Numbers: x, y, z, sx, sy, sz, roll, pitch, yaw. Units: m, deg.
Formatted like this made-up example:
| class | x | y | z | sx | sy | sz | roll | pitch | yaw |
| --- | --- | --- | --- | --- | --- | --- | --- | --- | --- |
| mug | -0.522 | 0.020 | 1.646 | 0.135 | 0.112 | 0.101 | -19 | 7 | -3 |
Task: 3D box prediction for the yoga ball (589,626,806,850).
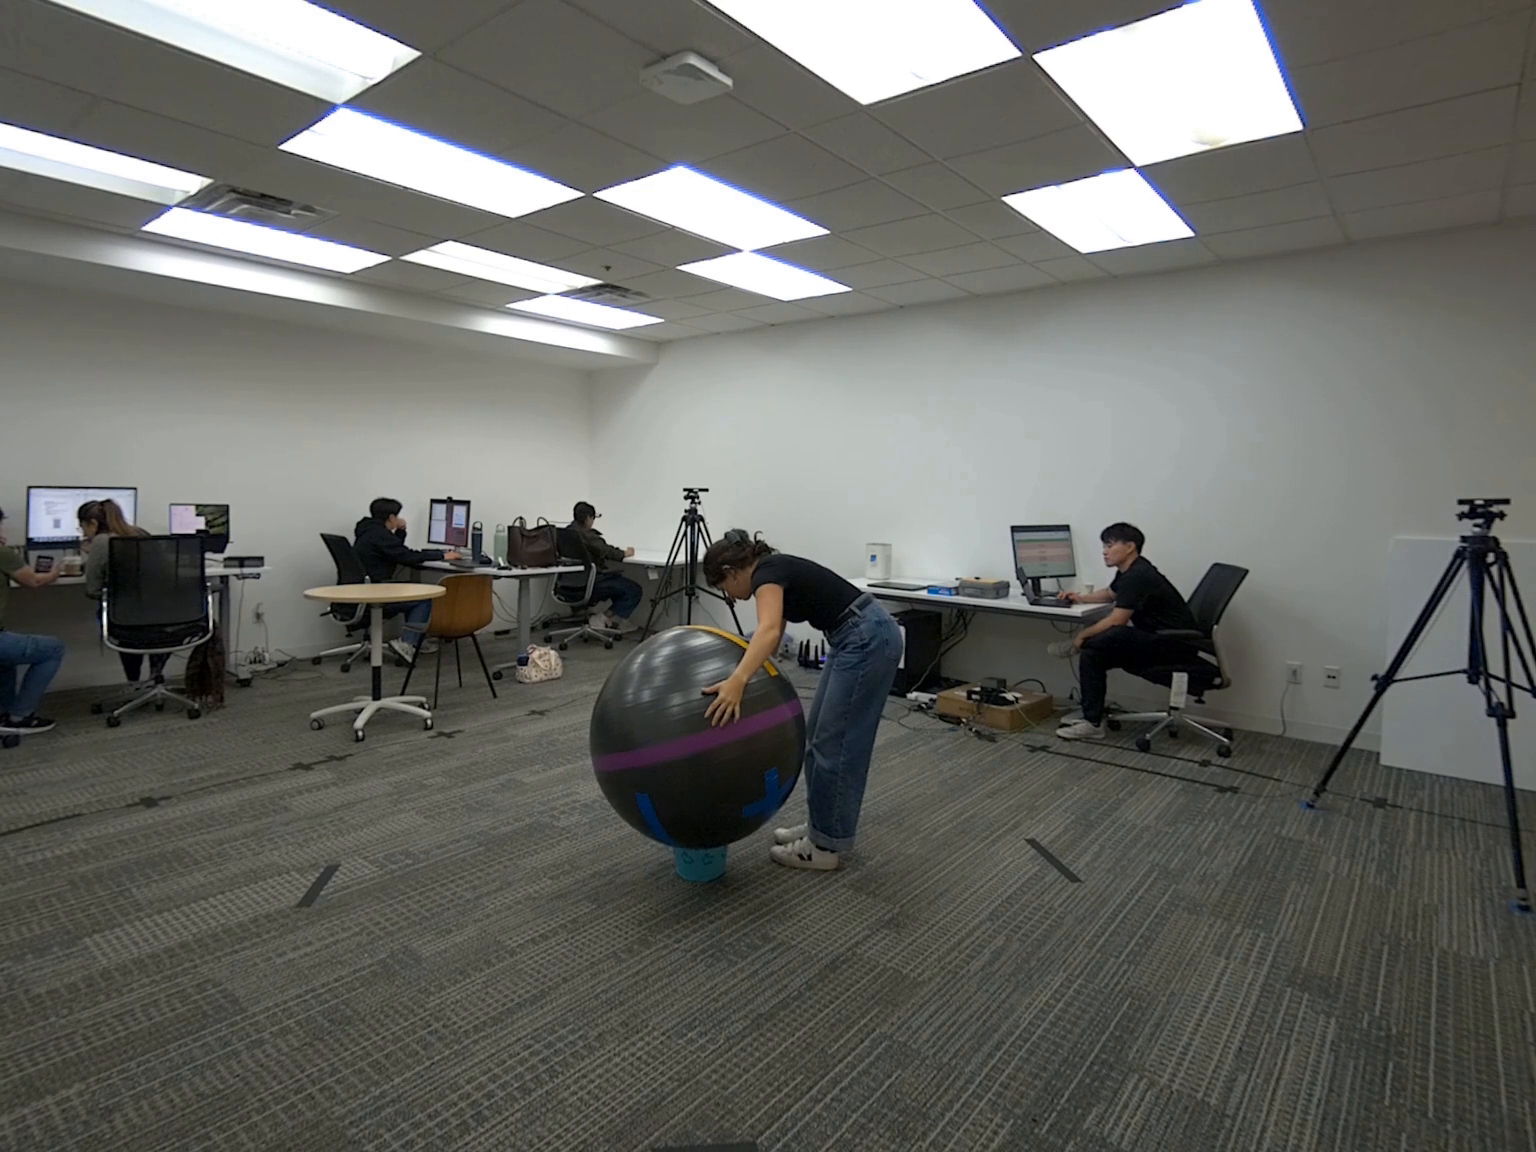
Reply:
| class | x | y | z | sx | sy | sz | roll | pitch | yaw |
| --- | --- | --- | --- | --- | --- | --- | --- | --- | --- |
| yoga ball | -0.263 | 0.556 | 3.004 | 0.757 | 0.756 | 0.762 | 1 | 4 | -2 |
